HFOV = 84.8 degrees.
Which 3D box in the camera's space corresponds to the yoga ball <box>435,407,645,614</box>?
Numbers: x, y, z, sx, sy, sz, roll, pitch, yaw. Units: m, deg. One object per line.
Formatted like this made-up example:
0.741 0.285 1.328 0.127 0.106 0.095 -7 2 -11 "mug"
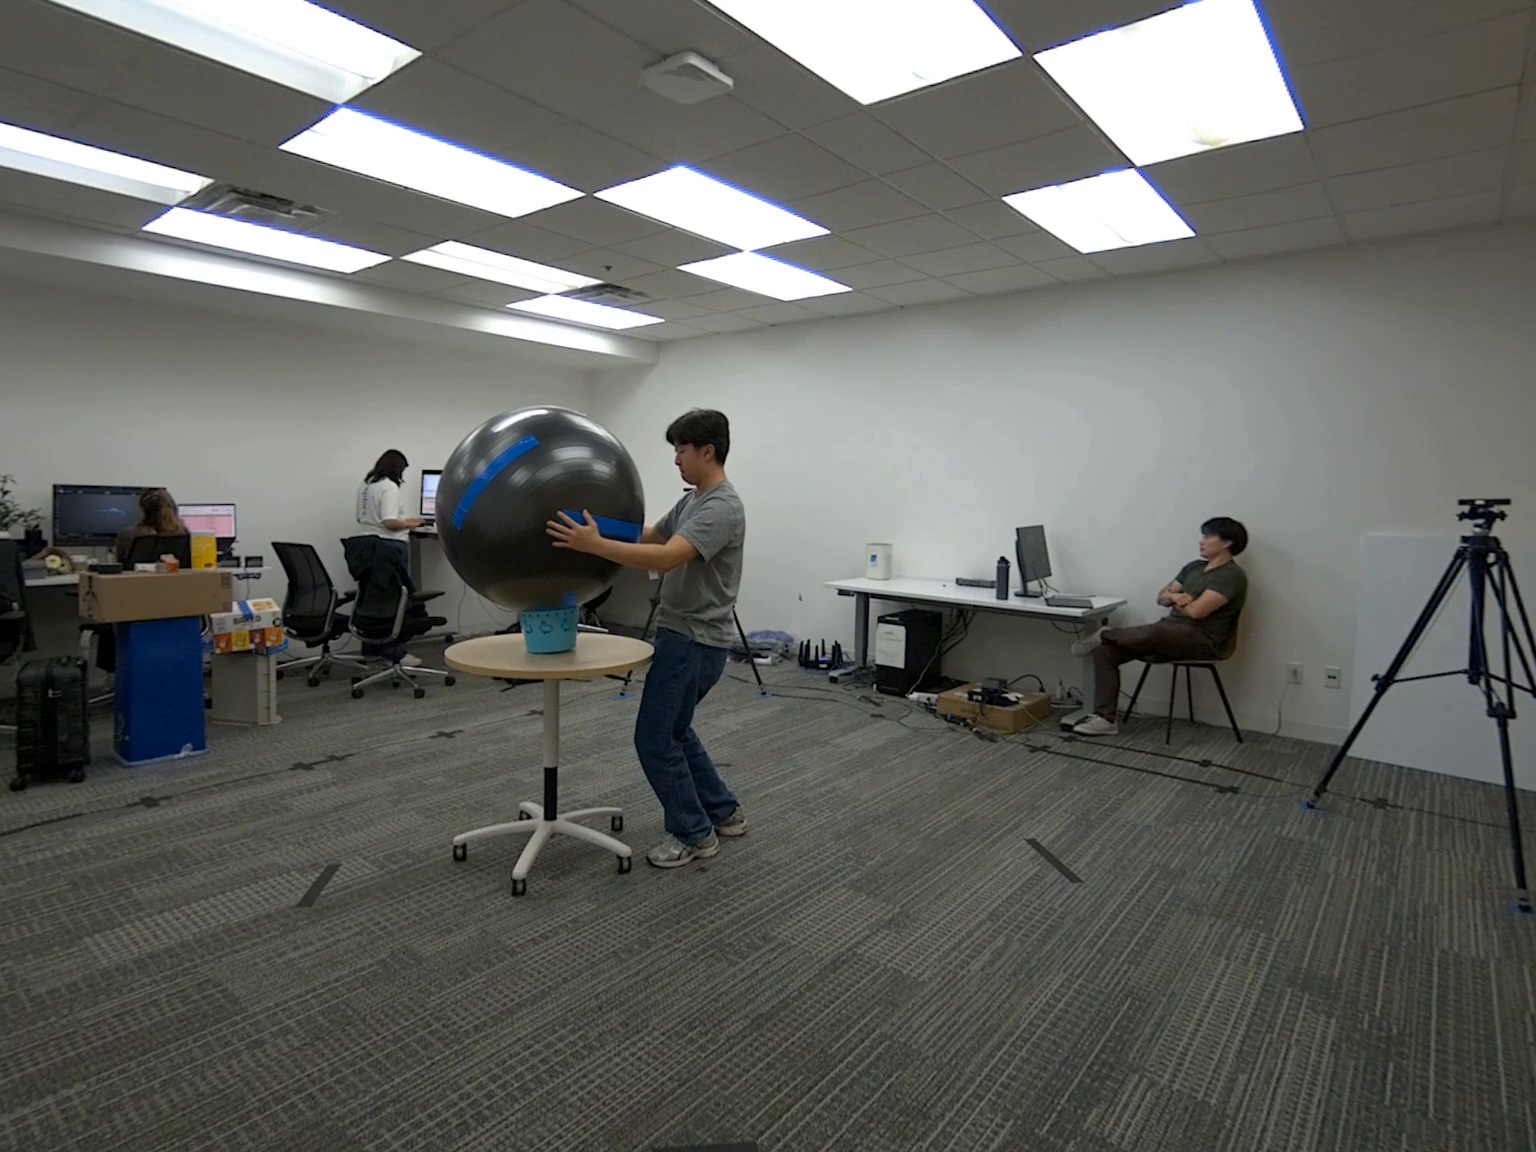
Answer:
-0.854 -0.244 3.145 0.757 0.755 0.762 1 4 -2 "yoga ball"
